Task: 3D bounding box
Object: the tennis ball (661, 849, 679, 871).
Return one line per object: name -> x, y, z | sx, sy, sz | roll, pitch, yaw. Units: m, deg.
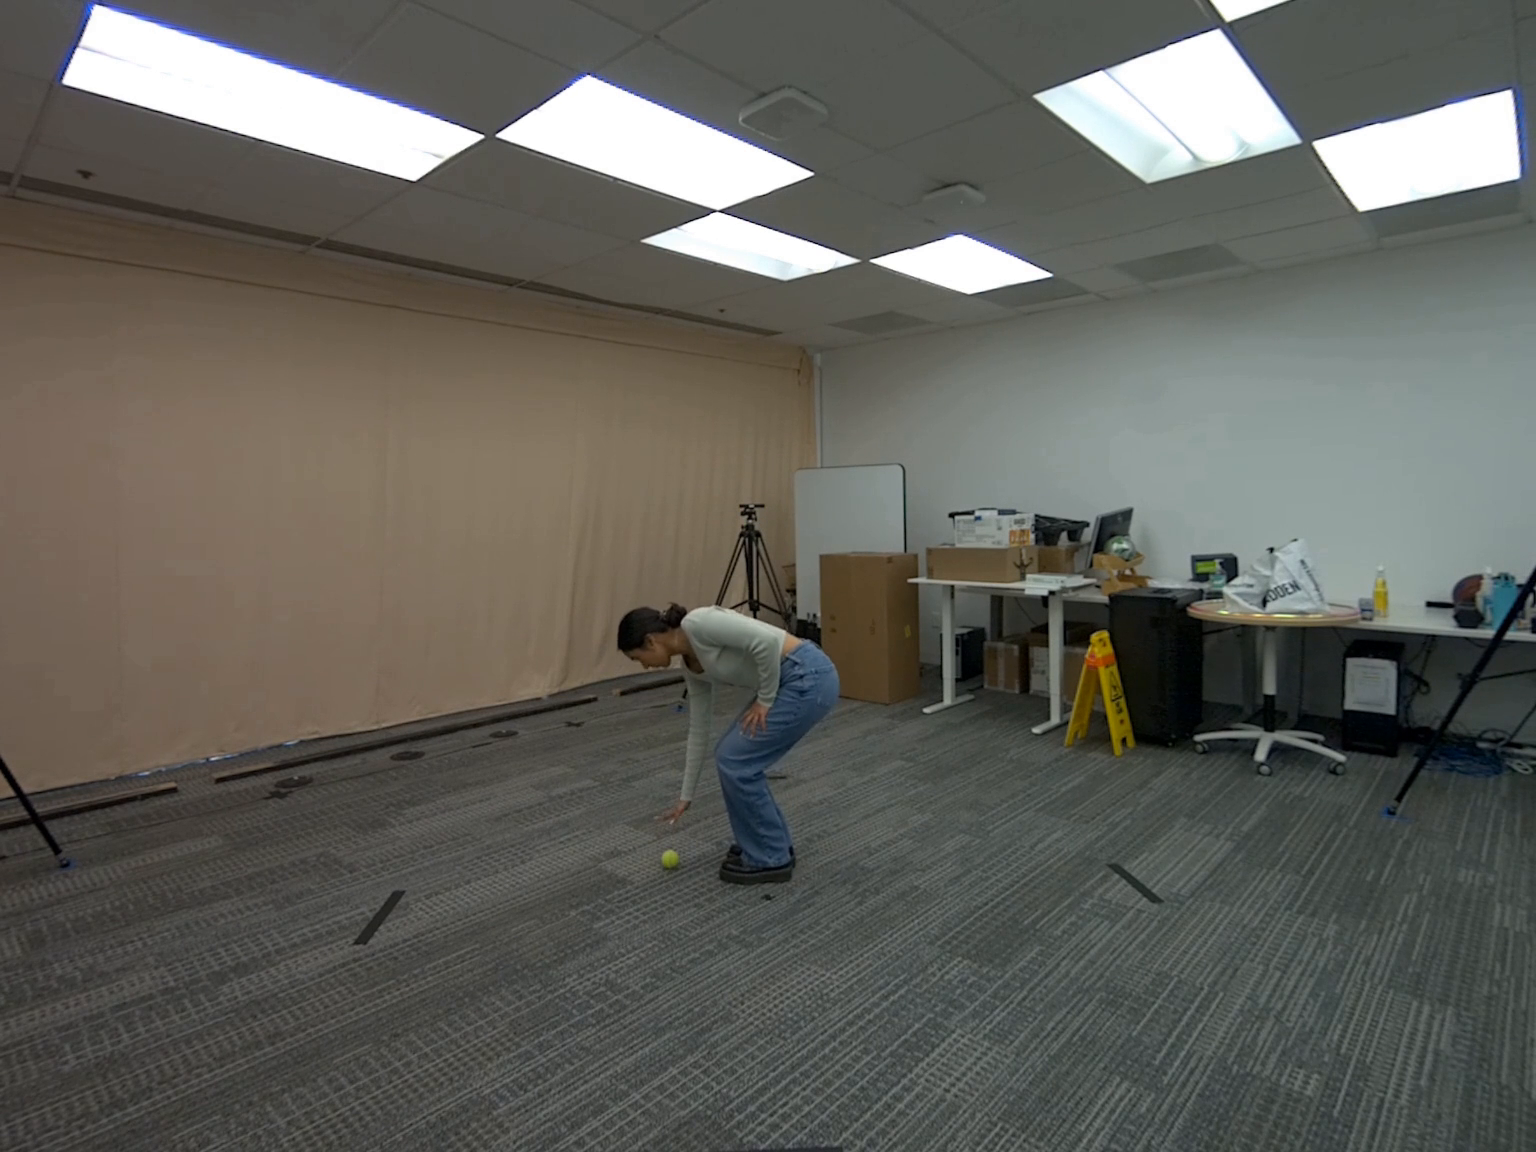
tennis ball -> -0.367, 1.085, 3.243 | 0.066, 0.066, 0.067 | -1, 4, -2
